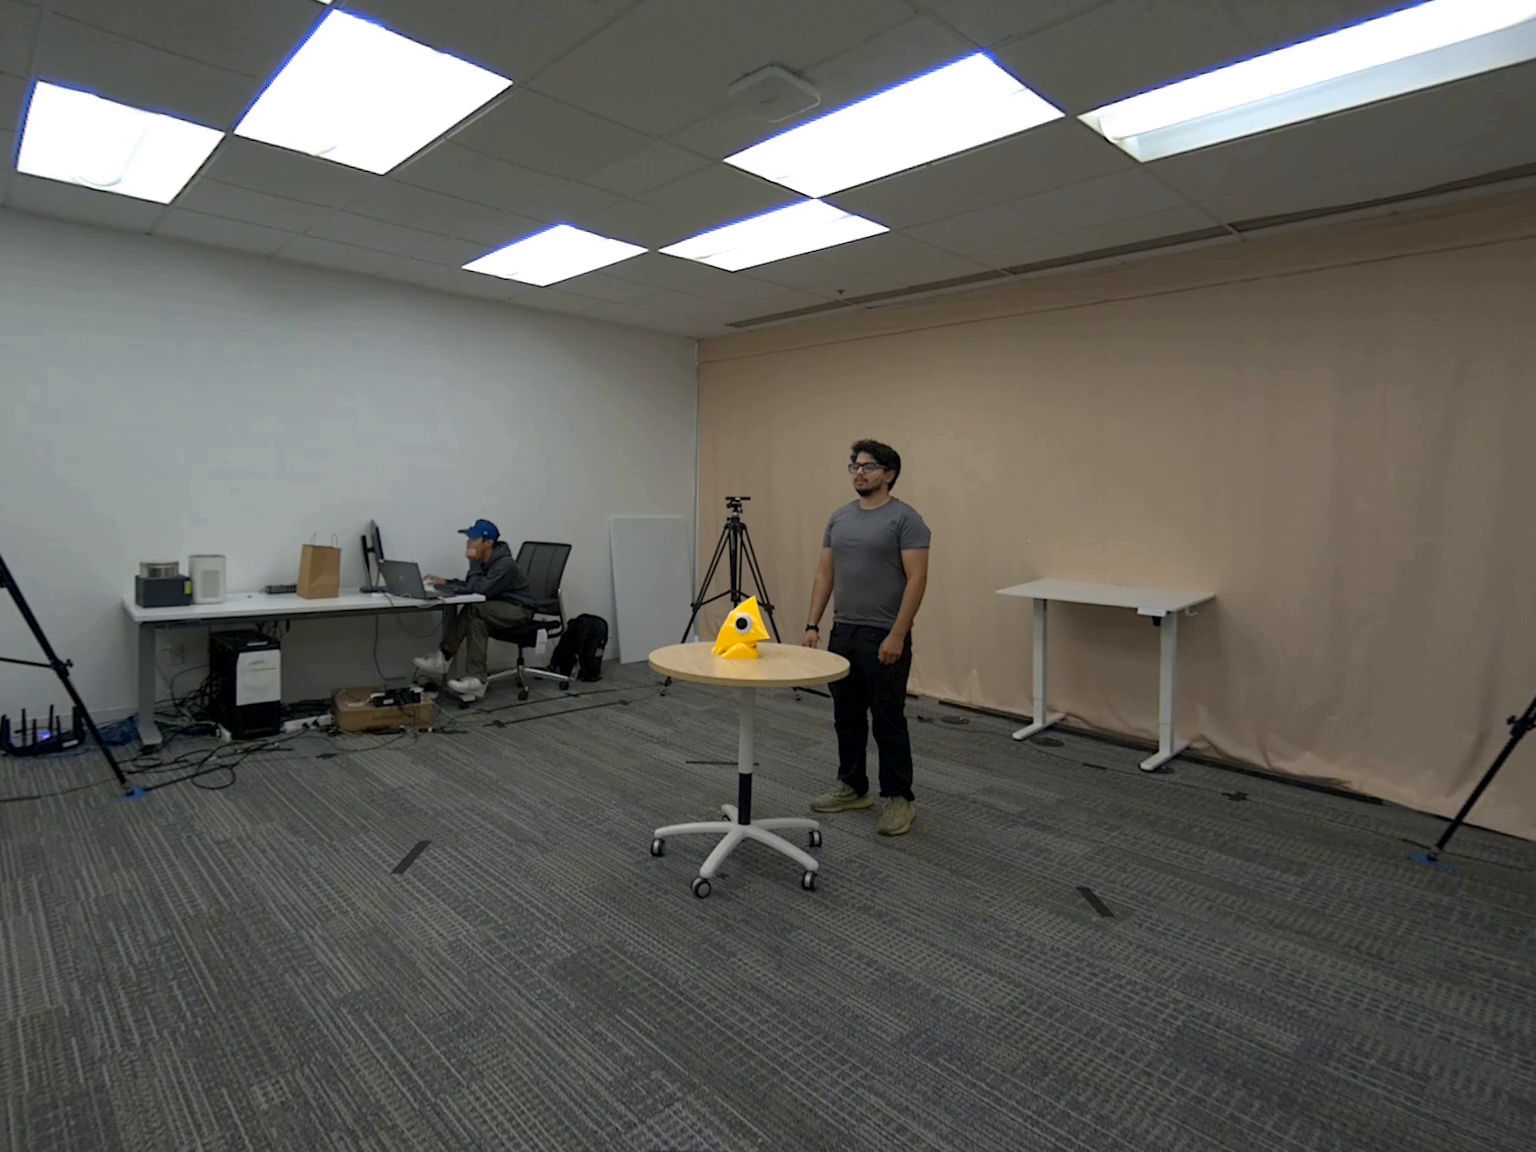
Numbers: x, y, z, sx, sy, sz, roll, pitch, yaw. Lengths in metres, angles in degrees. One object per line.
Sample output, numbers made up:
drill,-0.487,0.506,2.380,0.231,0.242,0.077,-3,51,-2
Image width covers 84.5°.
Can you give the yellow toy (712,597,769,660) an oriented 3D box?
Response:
yellow toy,-0.120,0.194,3.284,0.190,0.230,0.208,0,5,-20
